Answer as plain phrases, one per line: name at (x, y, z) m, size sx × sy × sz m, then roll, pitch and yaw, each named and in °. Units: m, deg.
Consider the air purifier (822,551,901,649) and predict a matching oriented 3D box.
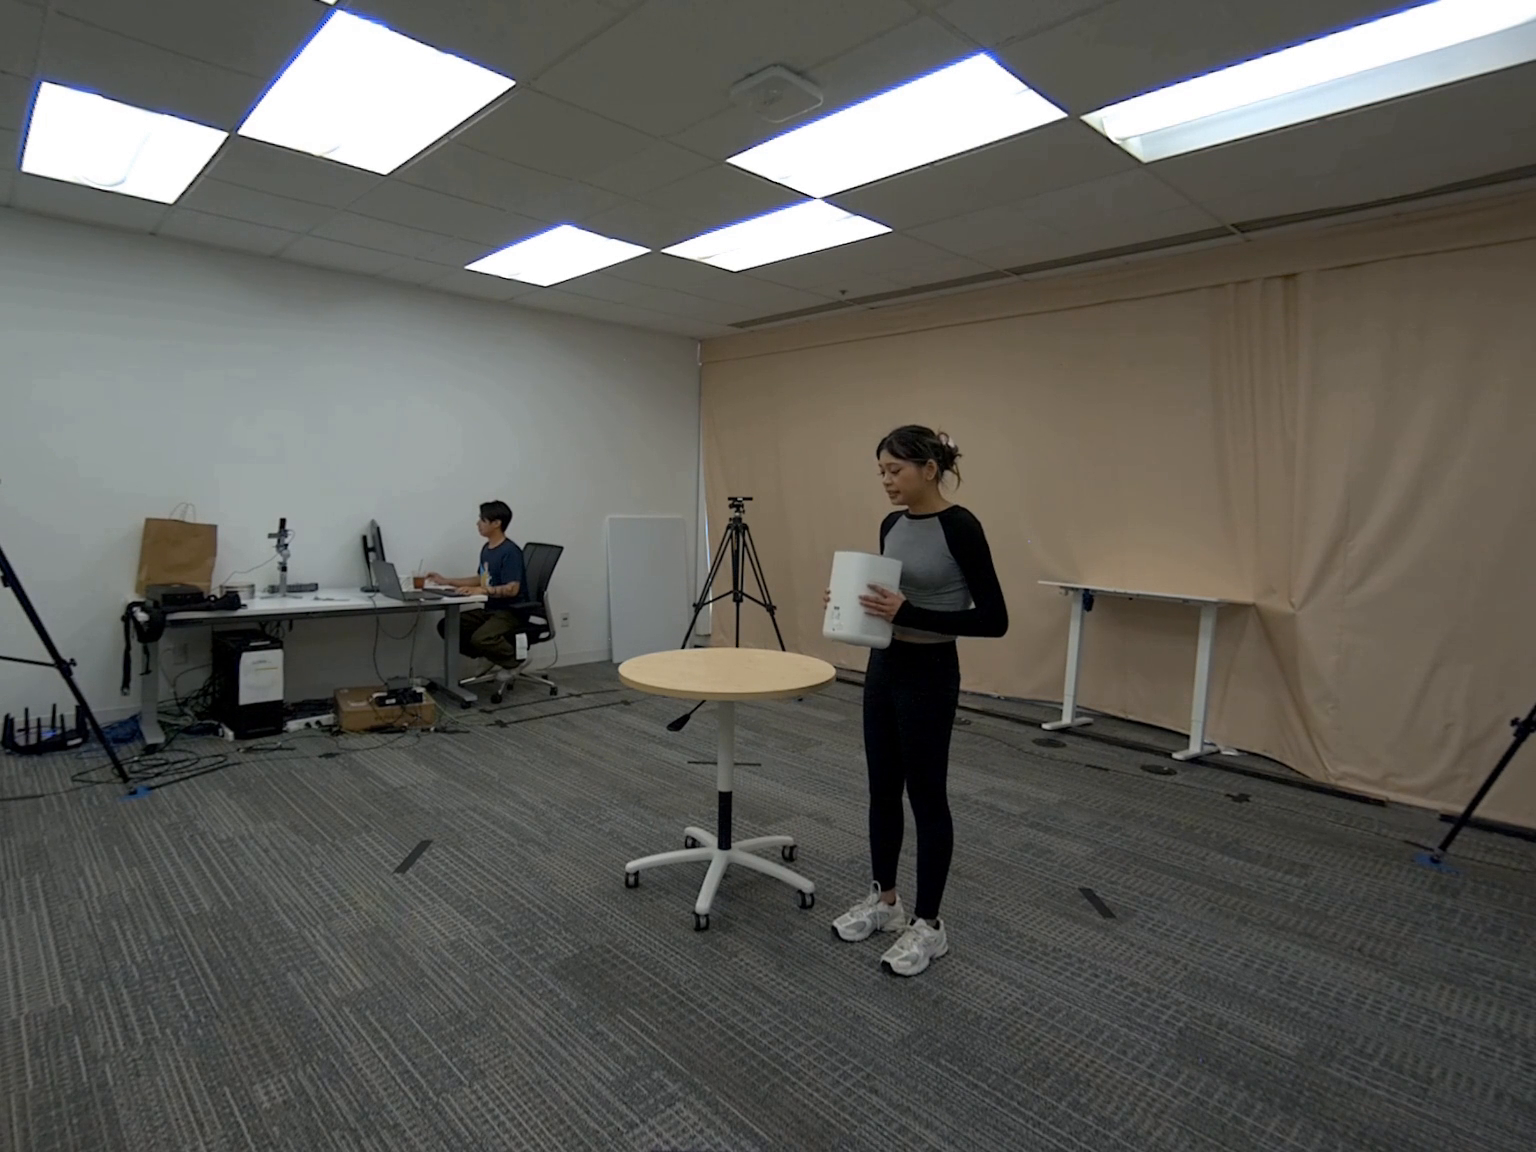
air purifier at (0.276, 0.077, 2.457) m, size 0.167 × 0.266 × 0.175 m, roll 12°, pitch -4°, yaw -30°
